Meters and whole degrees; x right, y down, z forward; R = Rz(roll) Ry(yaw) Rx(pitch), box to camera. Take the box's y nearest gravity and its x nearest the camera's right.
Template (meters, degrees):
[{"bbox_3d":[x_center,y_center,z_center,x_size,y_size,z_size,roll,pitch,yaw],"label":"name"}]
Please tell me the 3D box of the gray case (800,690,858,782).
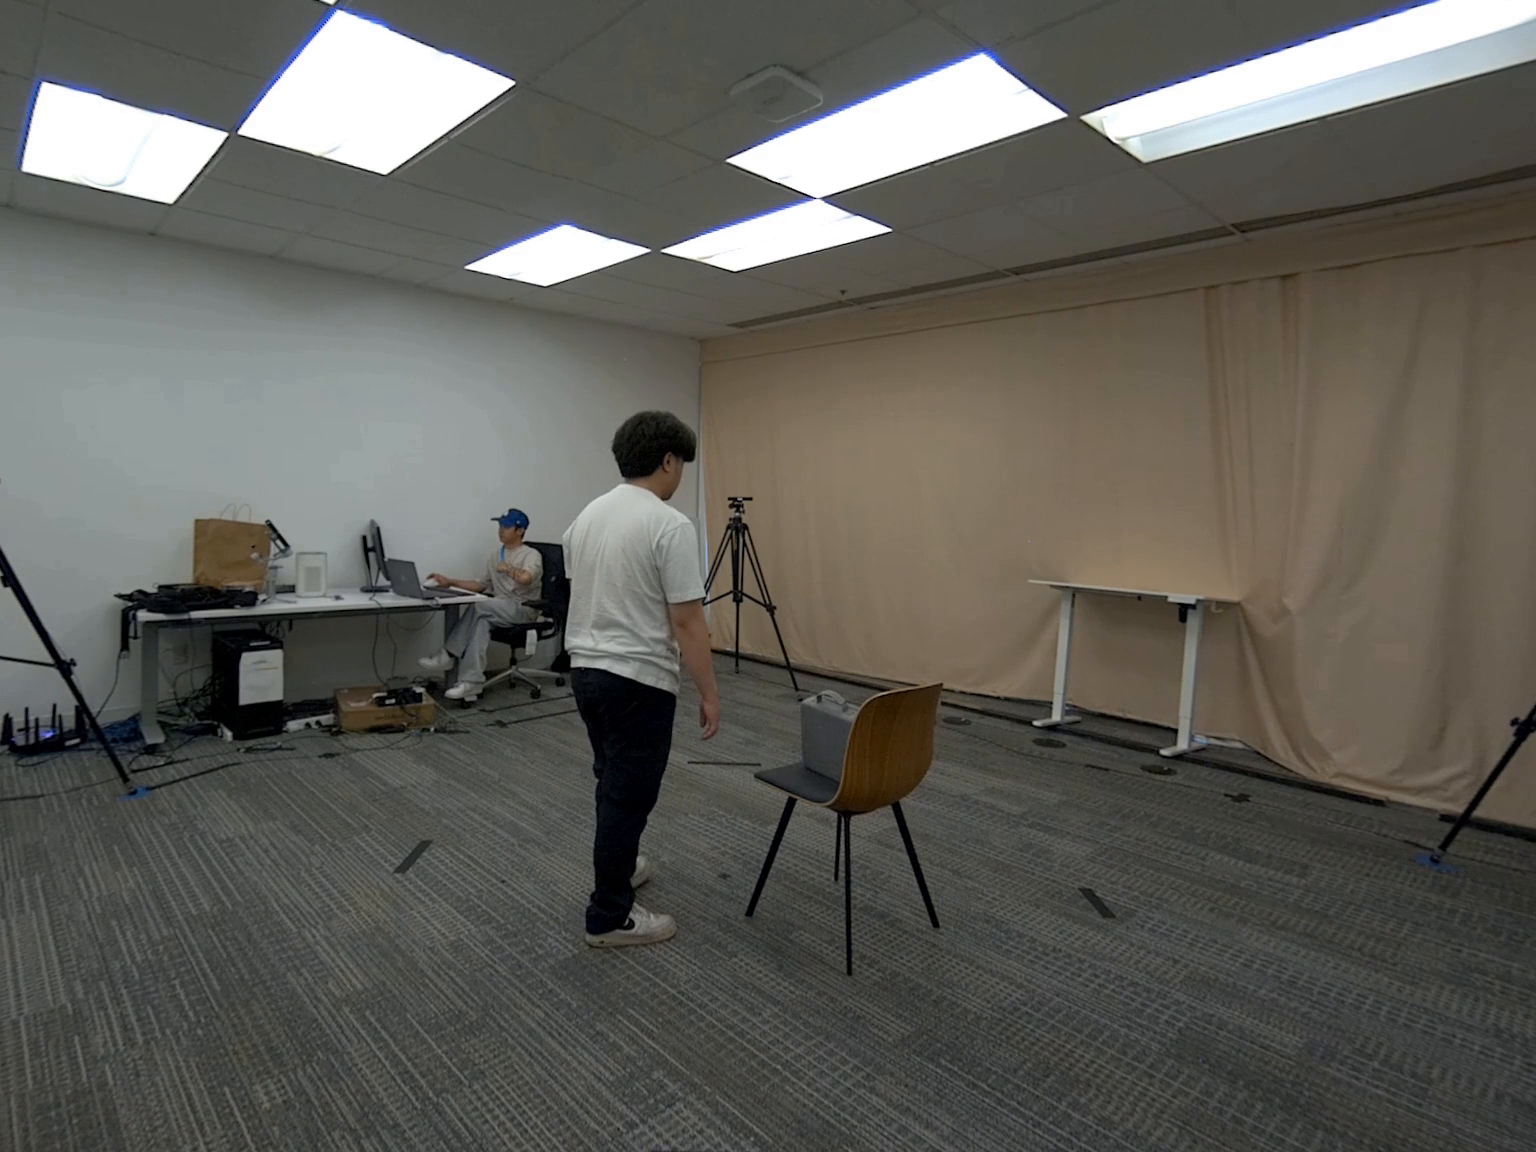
[{"bbox_3d":[0.220,0.539,2.782,0.102,0.258,0.264,-12,16,-39],"label":"gray case"}]
